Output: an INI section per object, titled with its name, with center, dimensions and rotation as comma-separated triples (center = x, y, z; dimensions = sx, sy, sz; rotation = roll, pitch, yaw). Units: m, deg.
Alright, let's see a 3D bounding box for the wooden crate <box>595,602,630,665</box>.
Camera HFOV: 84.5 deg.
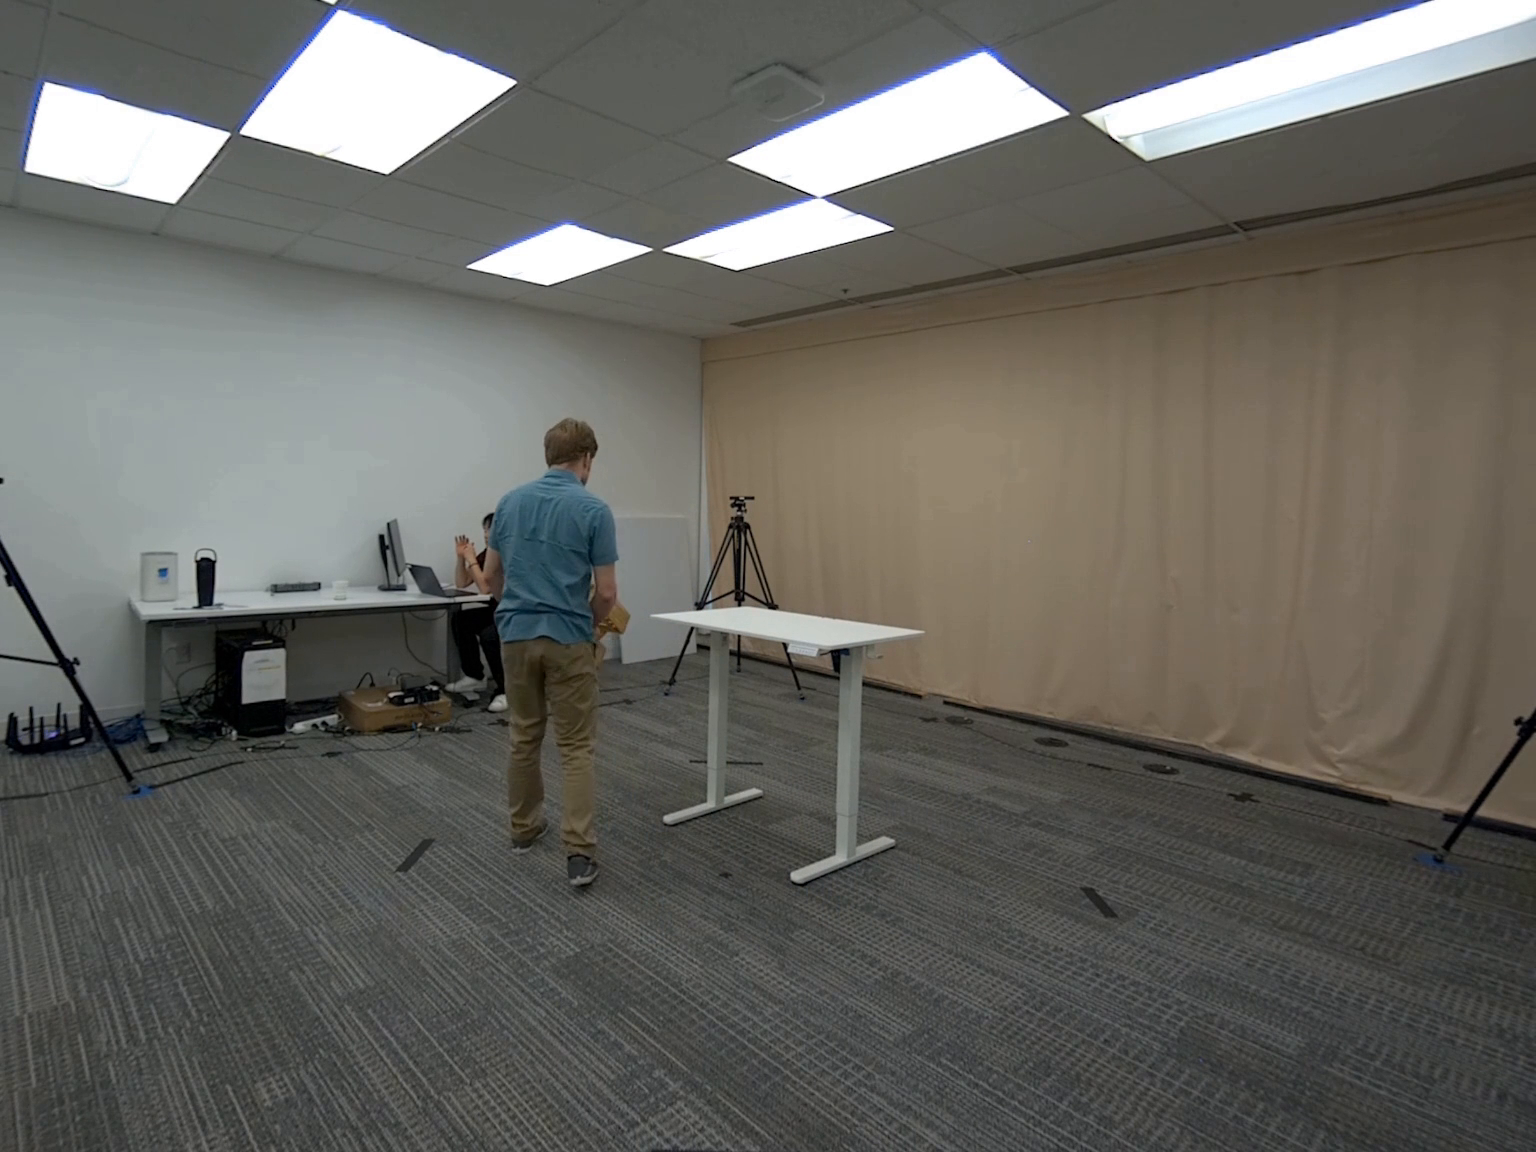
[wooden crate]
center = -0.808, 0.190, 3.472
dimensions = 0.307, 0.276, 0.315
rotation = 7, -28, 20
